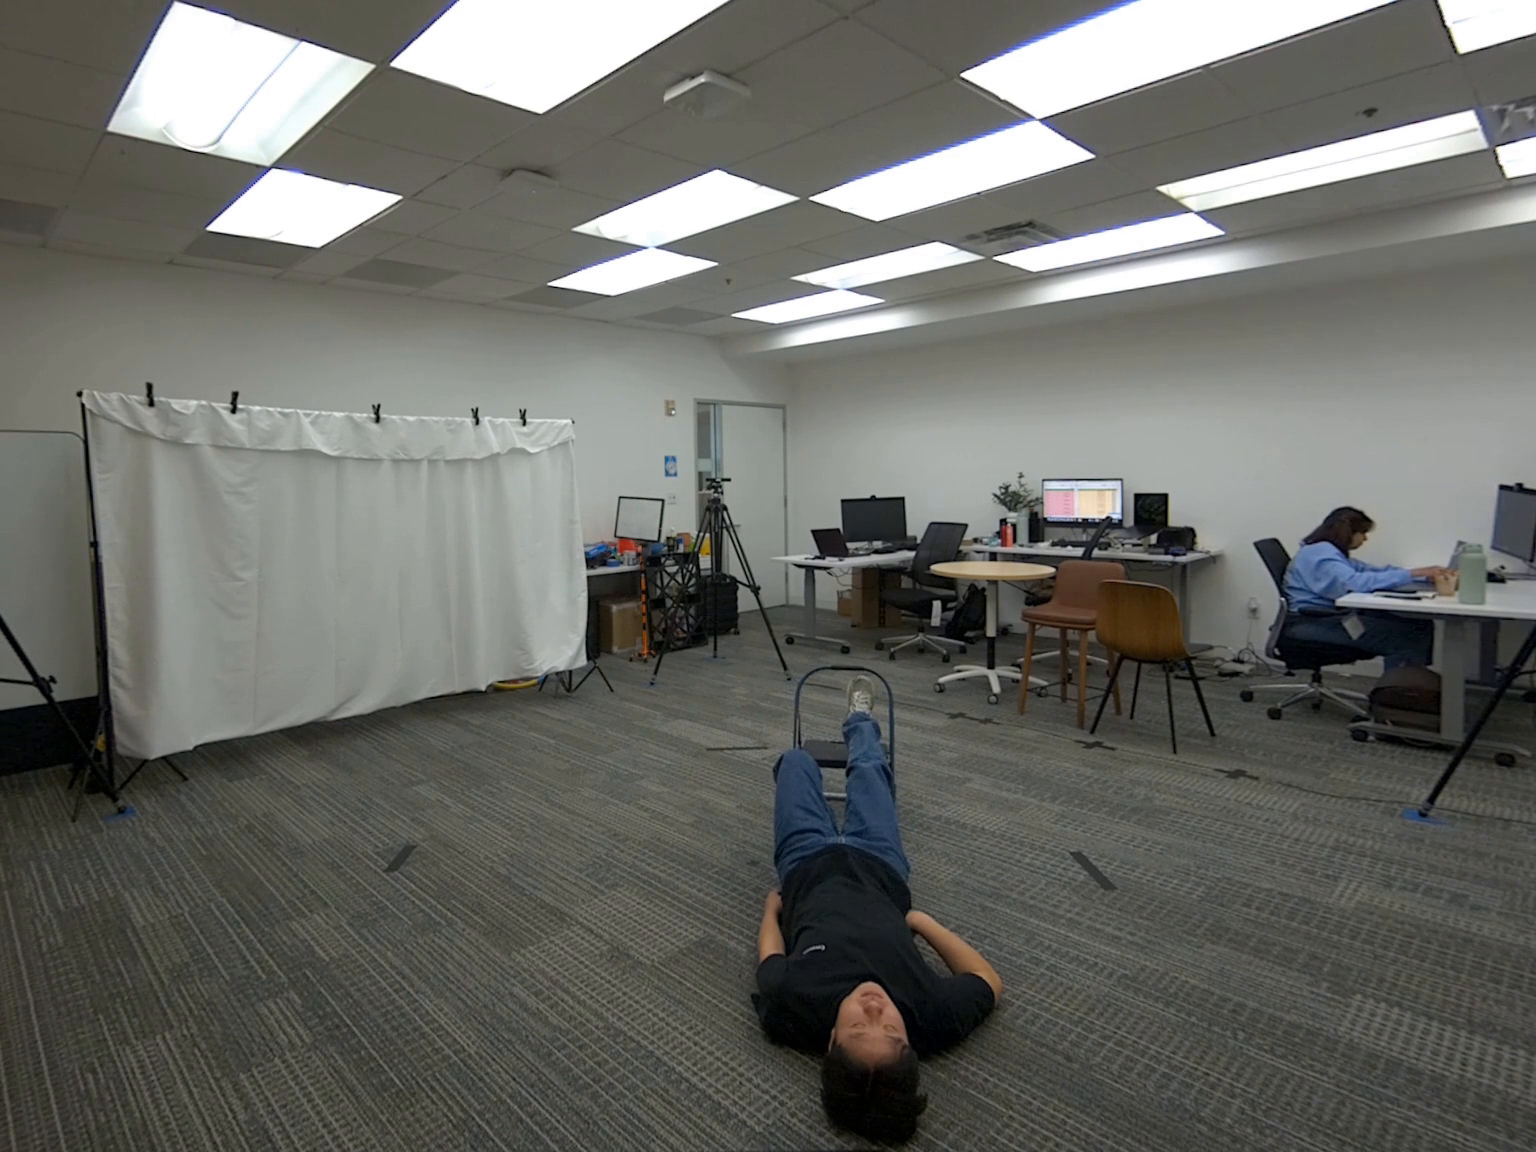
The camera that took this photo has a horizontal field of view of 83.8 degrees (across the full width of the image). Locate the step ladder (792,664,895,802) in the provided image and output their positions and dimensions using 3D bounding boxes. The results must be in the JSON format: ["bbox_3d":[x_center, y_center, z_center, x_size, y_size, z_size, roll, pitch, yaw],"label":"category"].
[{"bbox_3d":[0.314,0.686,3.525,0.435,0.604,0.347,0,5,9],"label":"step ladder"}]
